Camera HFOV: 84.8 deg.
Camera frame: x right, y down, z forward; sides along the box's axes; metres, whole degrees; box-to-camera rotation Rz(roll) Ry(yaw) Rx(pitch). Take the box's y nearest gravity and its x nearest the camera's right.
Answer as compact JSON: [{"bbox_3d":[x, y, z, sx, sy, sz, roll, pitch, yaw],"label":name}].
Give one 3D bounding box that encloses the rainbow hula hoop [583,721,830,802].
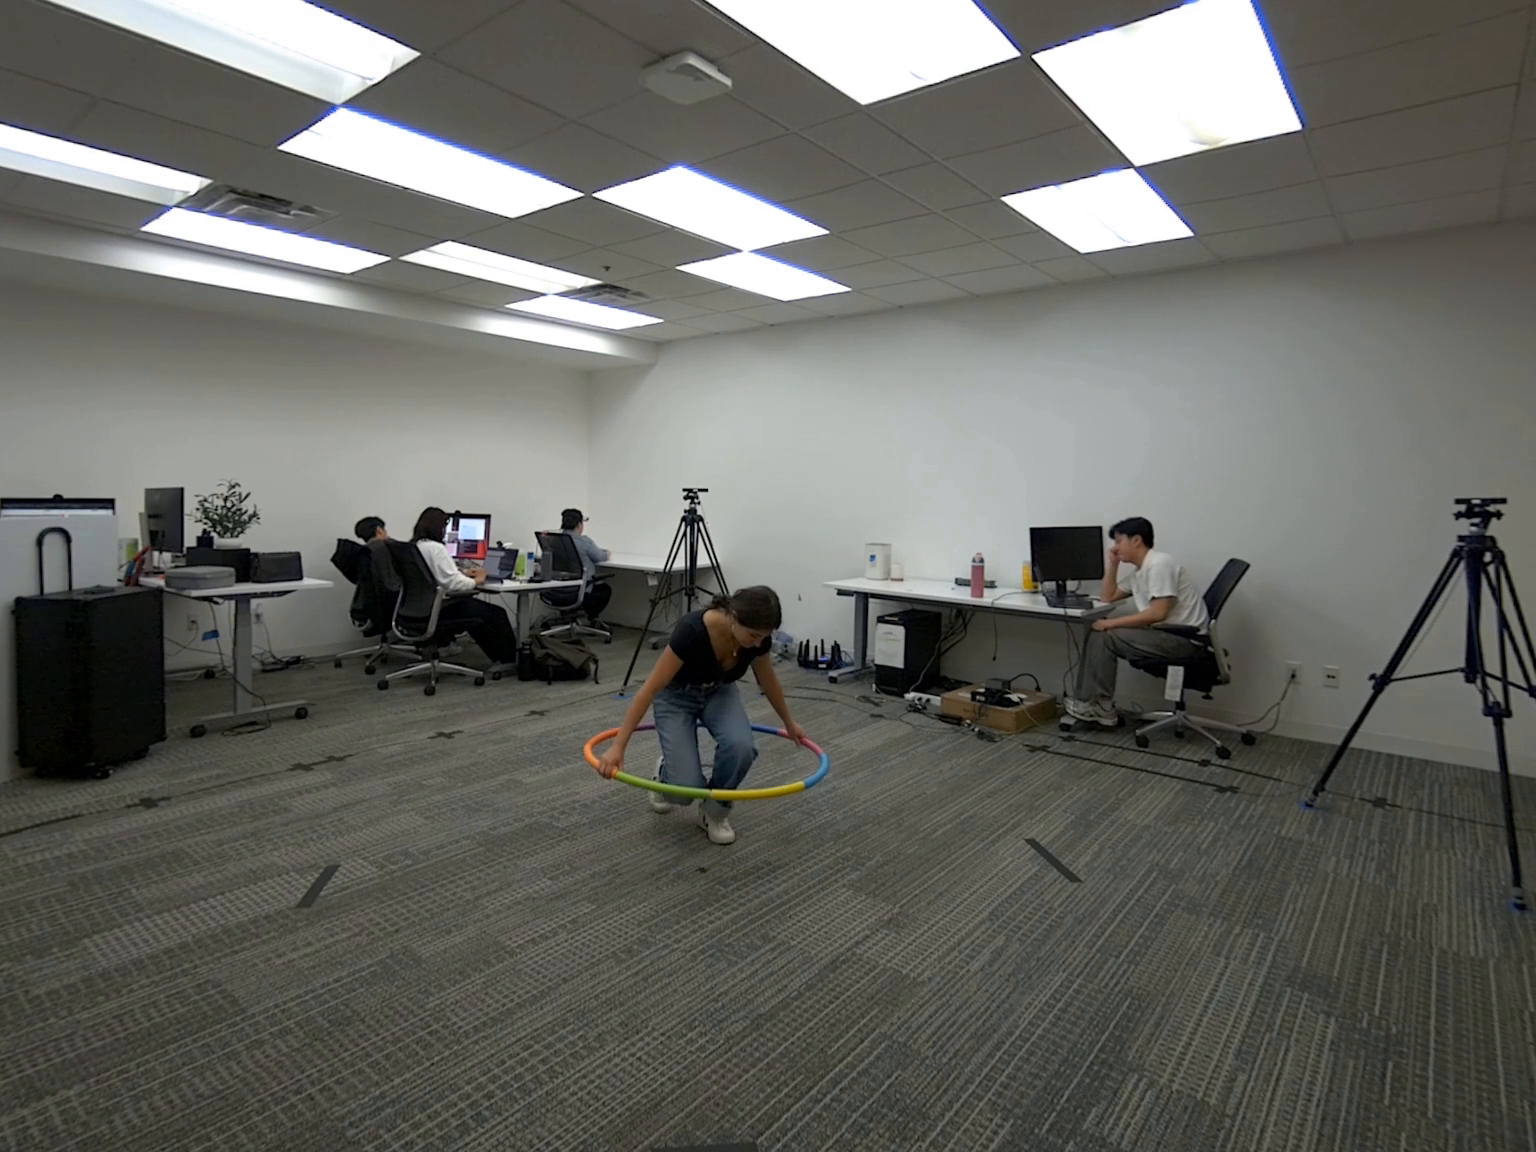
[{"bbox_3d":[-0.248,0.707,3.452,0.978,0.035,0.983,2,5,-2],"label":"rainbow hula hoop"}]
